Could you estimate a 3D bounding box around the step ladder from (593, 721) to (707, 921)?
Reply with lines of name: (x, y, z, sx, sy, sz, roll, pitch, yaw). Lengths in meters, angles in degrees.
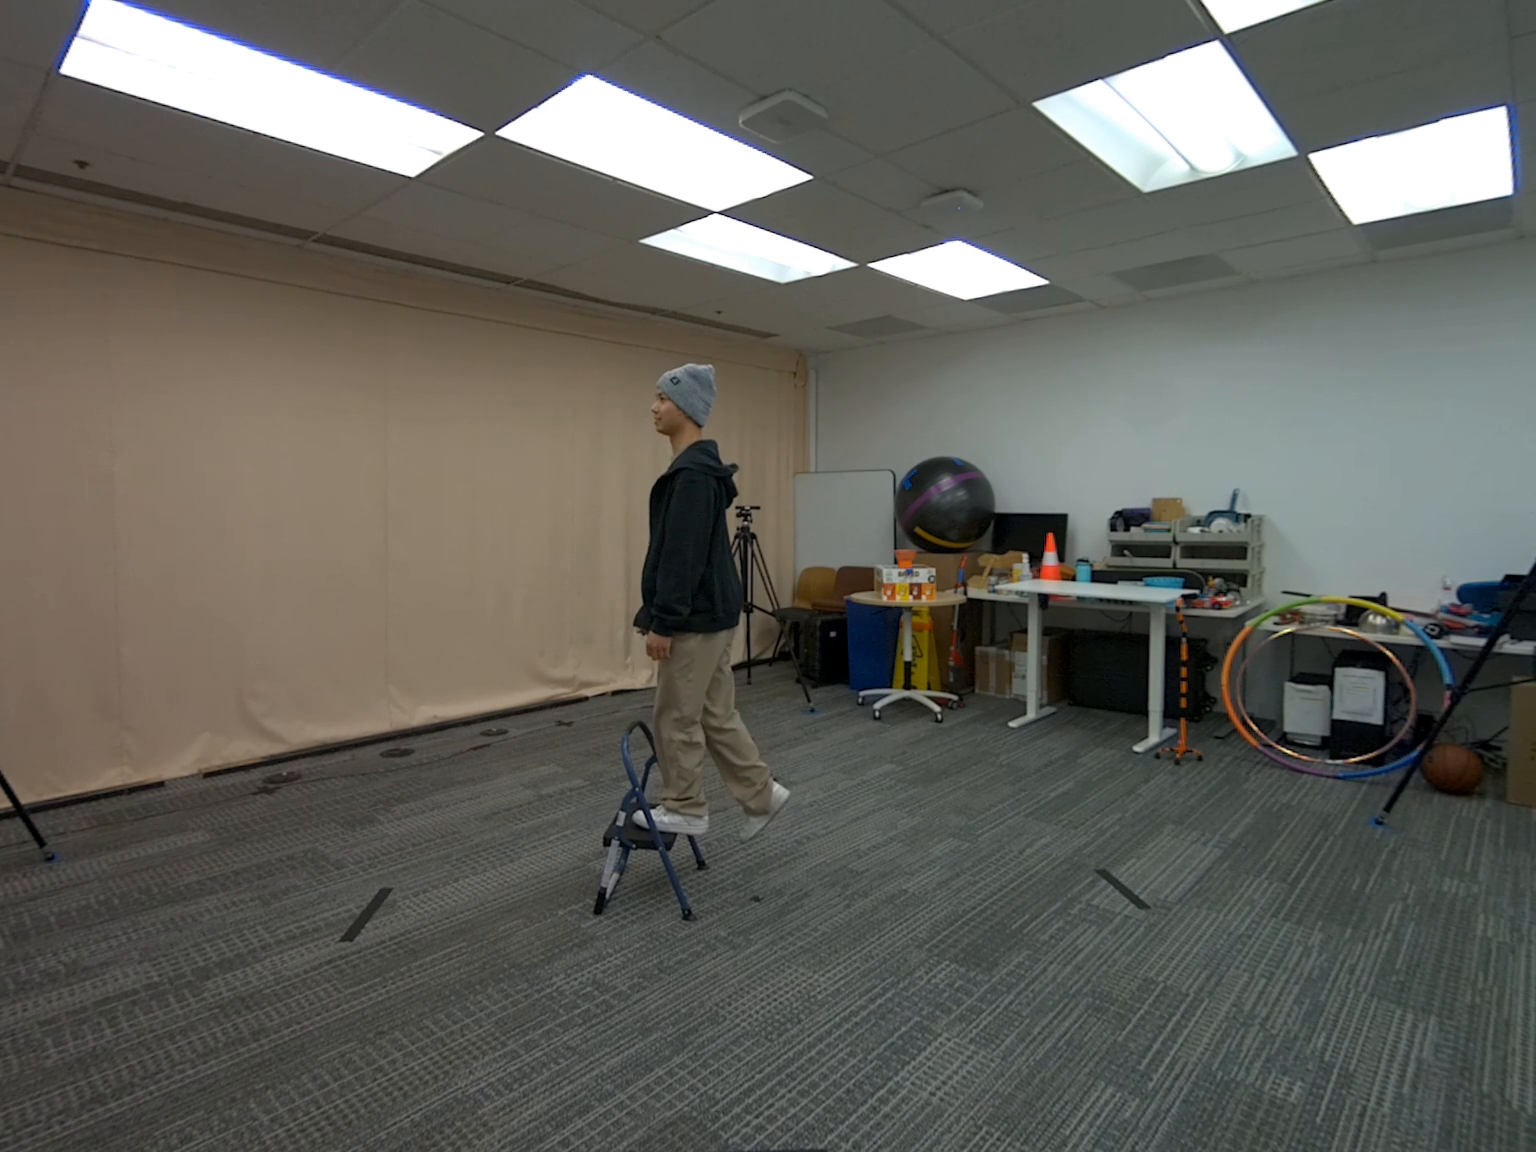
step ladder: (-0.414, 0.844, 3.042, 0.351, 0.605, 0.430, 1, 3, 3)
